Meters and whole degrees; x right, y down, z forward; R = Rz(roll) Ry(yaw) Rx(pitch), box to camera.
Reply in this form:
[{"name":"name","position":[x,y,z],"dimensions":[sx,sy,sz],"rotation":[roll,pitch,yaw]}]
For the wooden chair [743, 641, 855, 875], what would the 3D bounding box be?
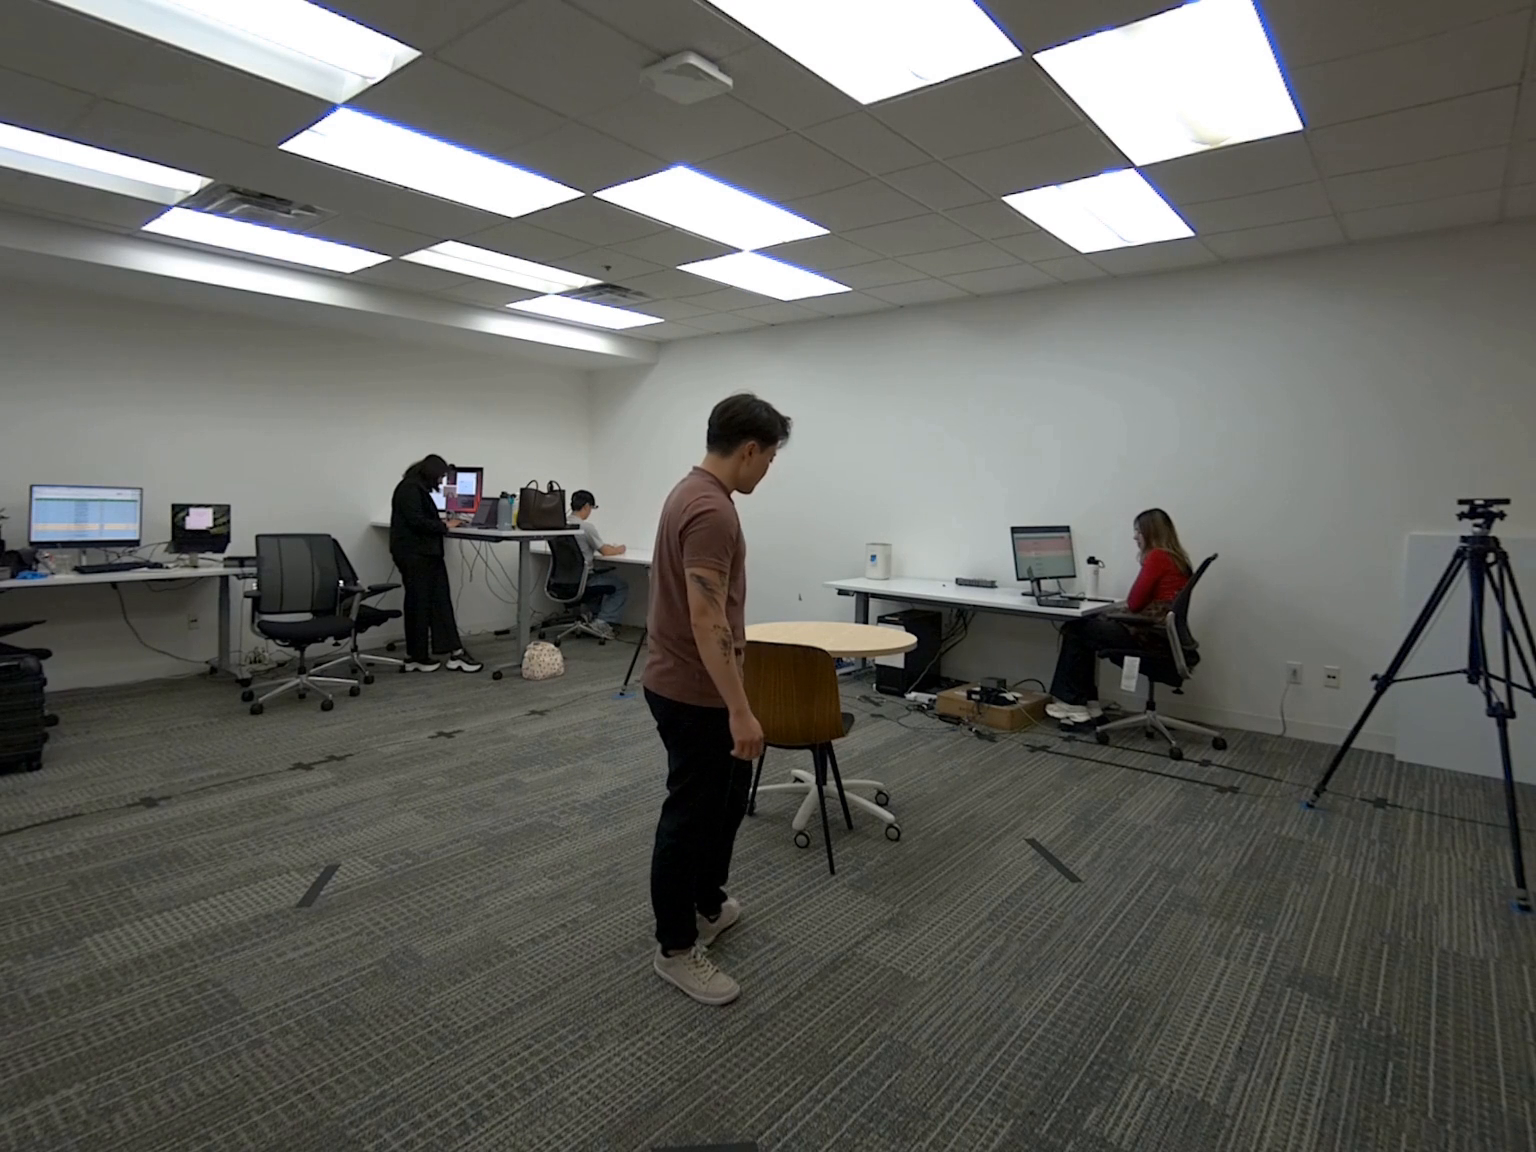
[{"name":"wooden chair","position":[0.076,0.628,3.340],"dimensions":[0.487,0.872,0.517],"rotation":[2,7,16]}]
